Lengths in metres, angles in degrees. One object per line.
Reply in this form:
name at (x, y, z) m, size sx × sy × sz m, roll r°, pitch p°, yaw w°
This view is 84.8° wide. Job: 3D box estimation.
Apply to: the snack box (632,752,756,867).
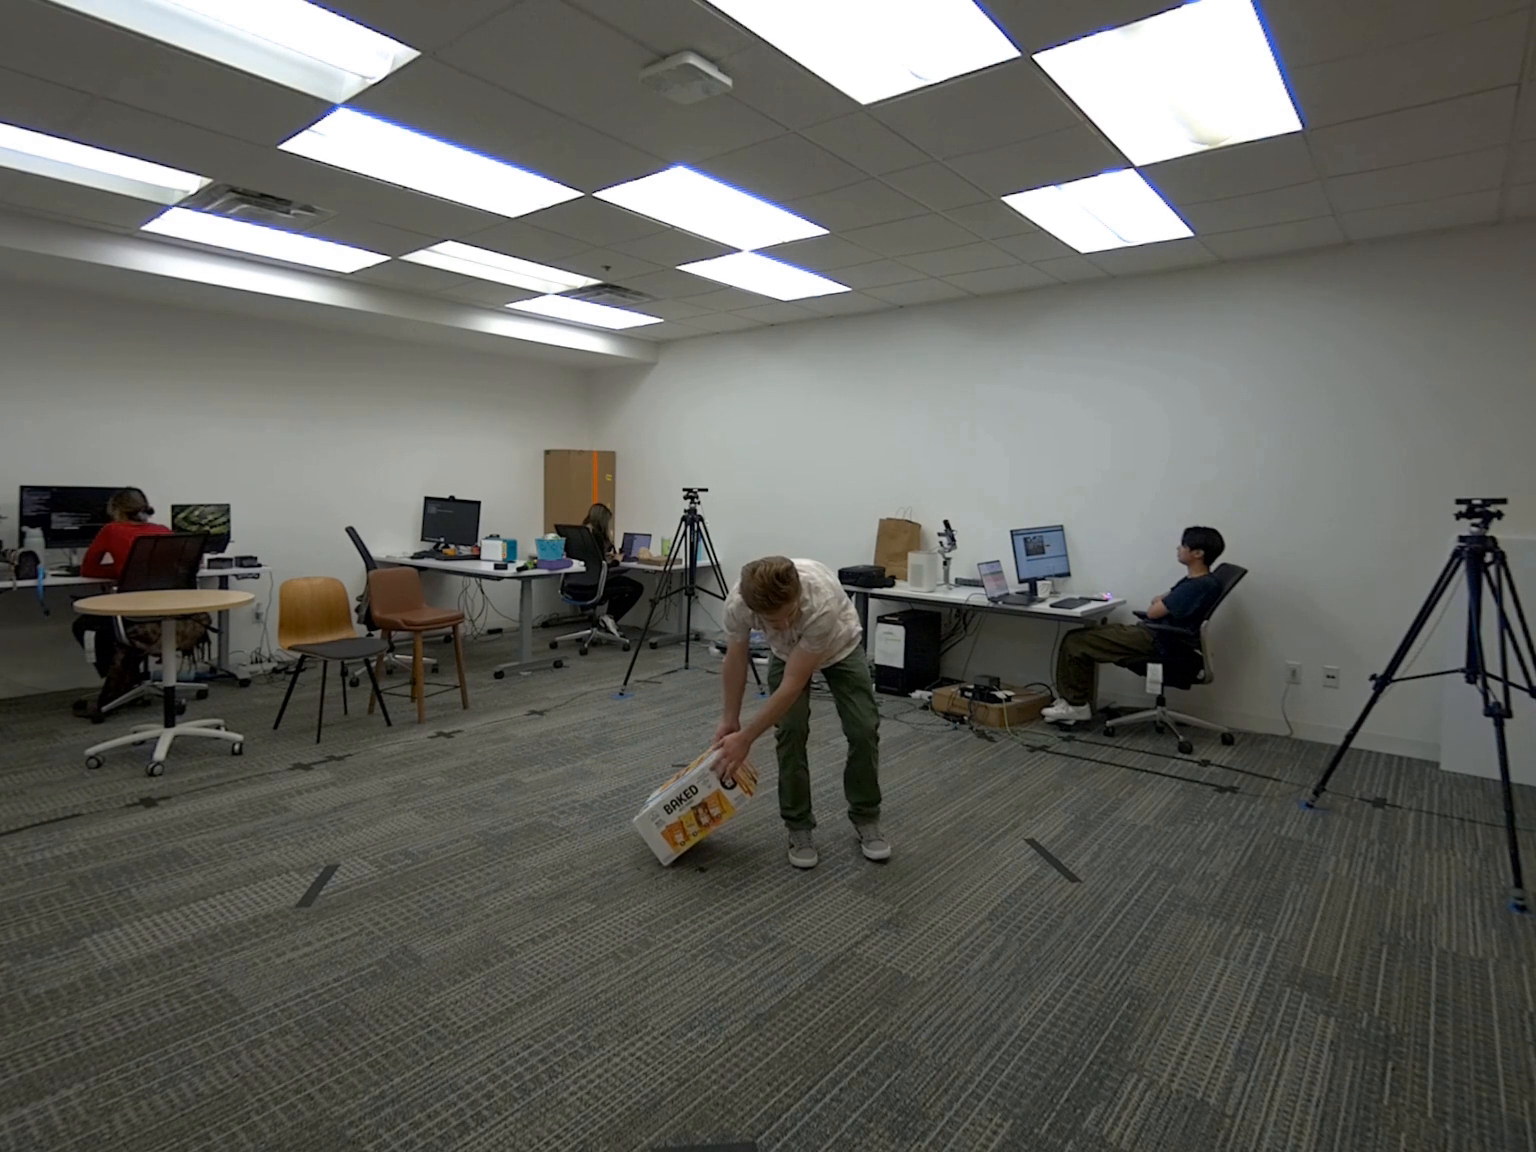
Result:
snack box at (-0.273, 0.848, 3.249) m, size 0.405 × 0.207 × 0.338 m, roll -39°, pitch -2°, yaw 6°
